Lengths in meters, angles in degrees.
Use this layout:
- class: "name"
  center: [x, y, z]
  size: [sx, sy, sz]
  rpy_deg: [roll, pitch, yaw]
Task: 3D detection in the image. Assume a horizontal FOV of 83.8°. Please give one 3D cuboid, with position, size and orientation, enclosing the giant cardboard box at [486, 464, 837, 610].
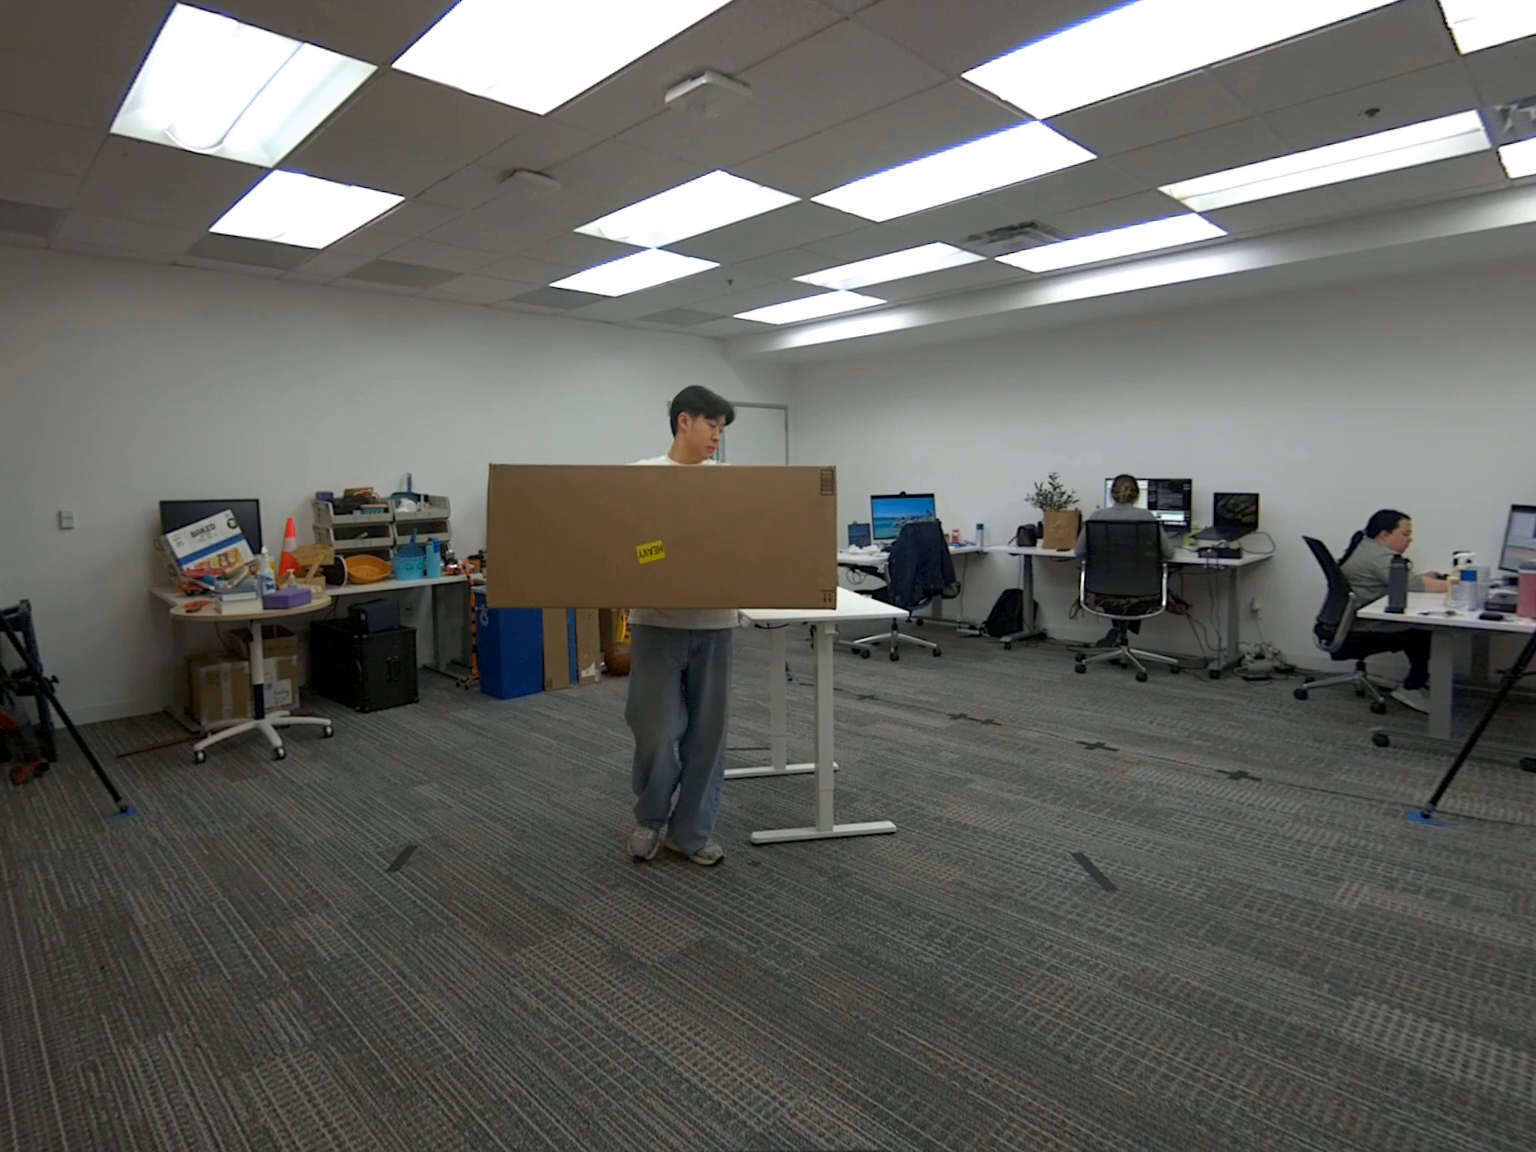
- class: "giant cardboard box"
  center: [-0.320, -0.119, 2.761]
  size: [1.024, 0.426, 0.578]
  rpy_deg: [0, 0, -2]
